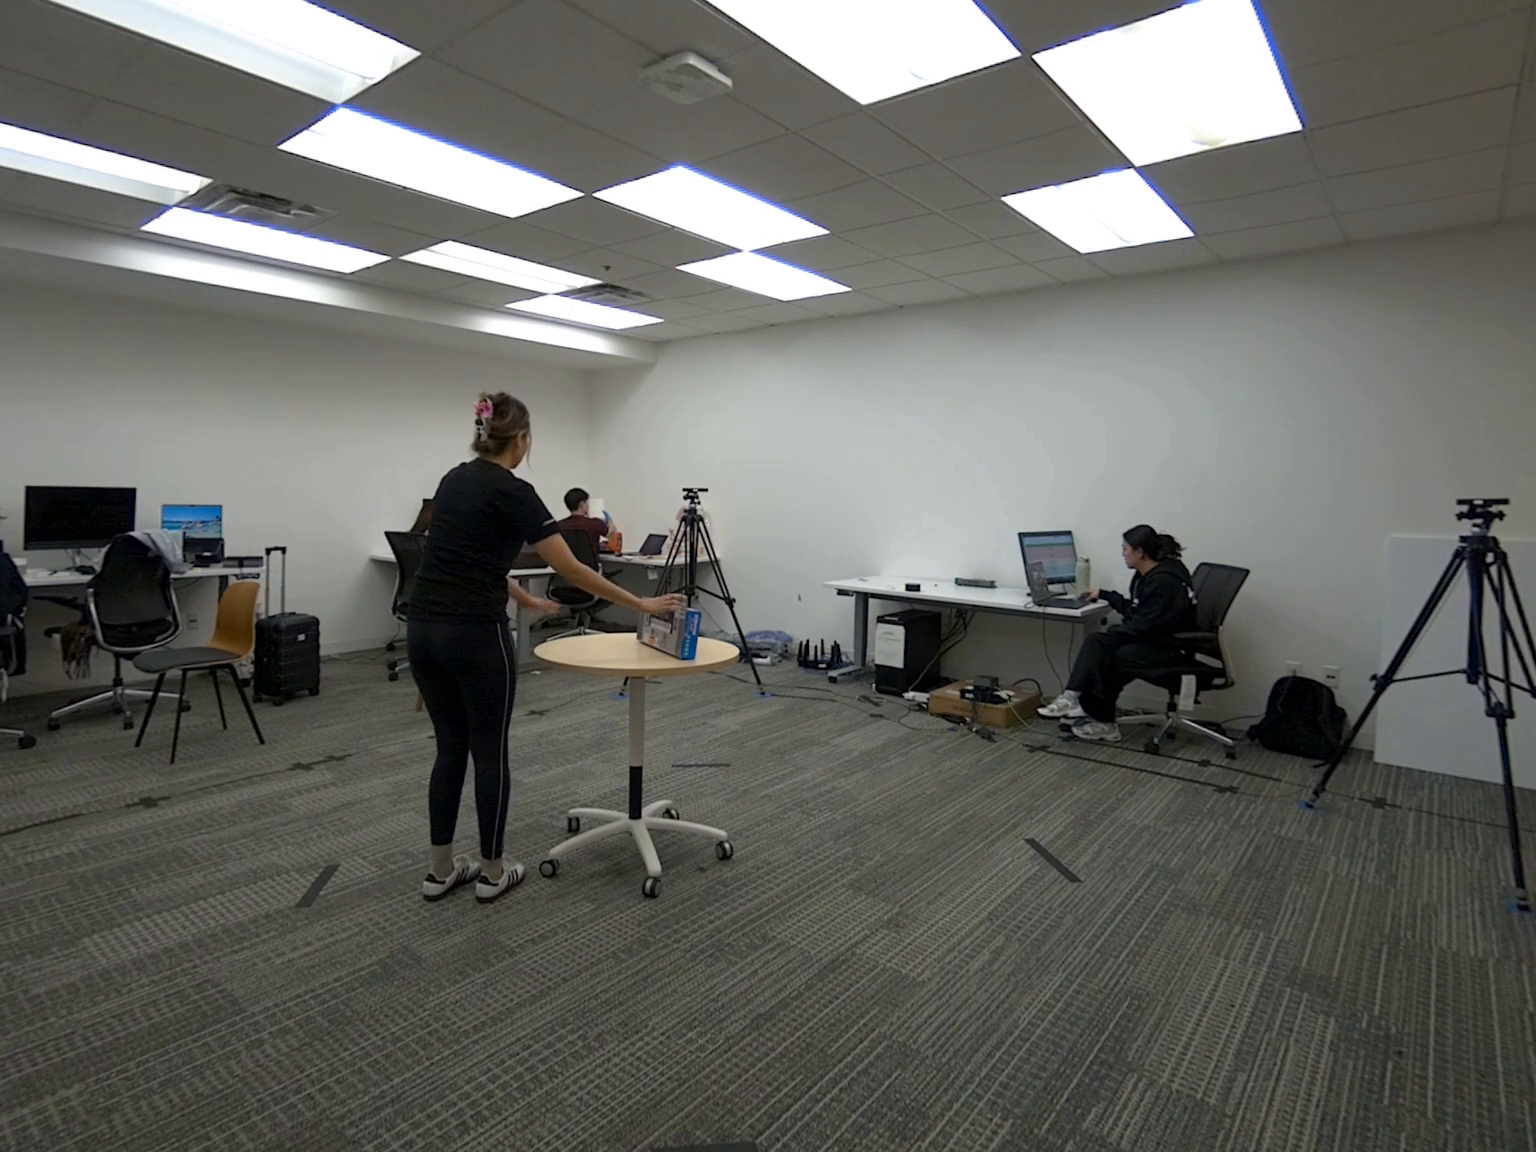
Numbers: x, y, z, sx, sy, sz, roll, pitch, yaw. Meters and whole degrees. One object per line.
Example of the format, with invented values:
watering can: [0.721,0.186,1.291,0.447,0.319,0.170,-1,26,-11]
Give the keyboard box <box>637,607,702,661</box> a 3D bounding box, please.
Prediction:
keyboard box: [-0.390,0.190,3.186,0.057,0.176,0.449,7,1,-29]
